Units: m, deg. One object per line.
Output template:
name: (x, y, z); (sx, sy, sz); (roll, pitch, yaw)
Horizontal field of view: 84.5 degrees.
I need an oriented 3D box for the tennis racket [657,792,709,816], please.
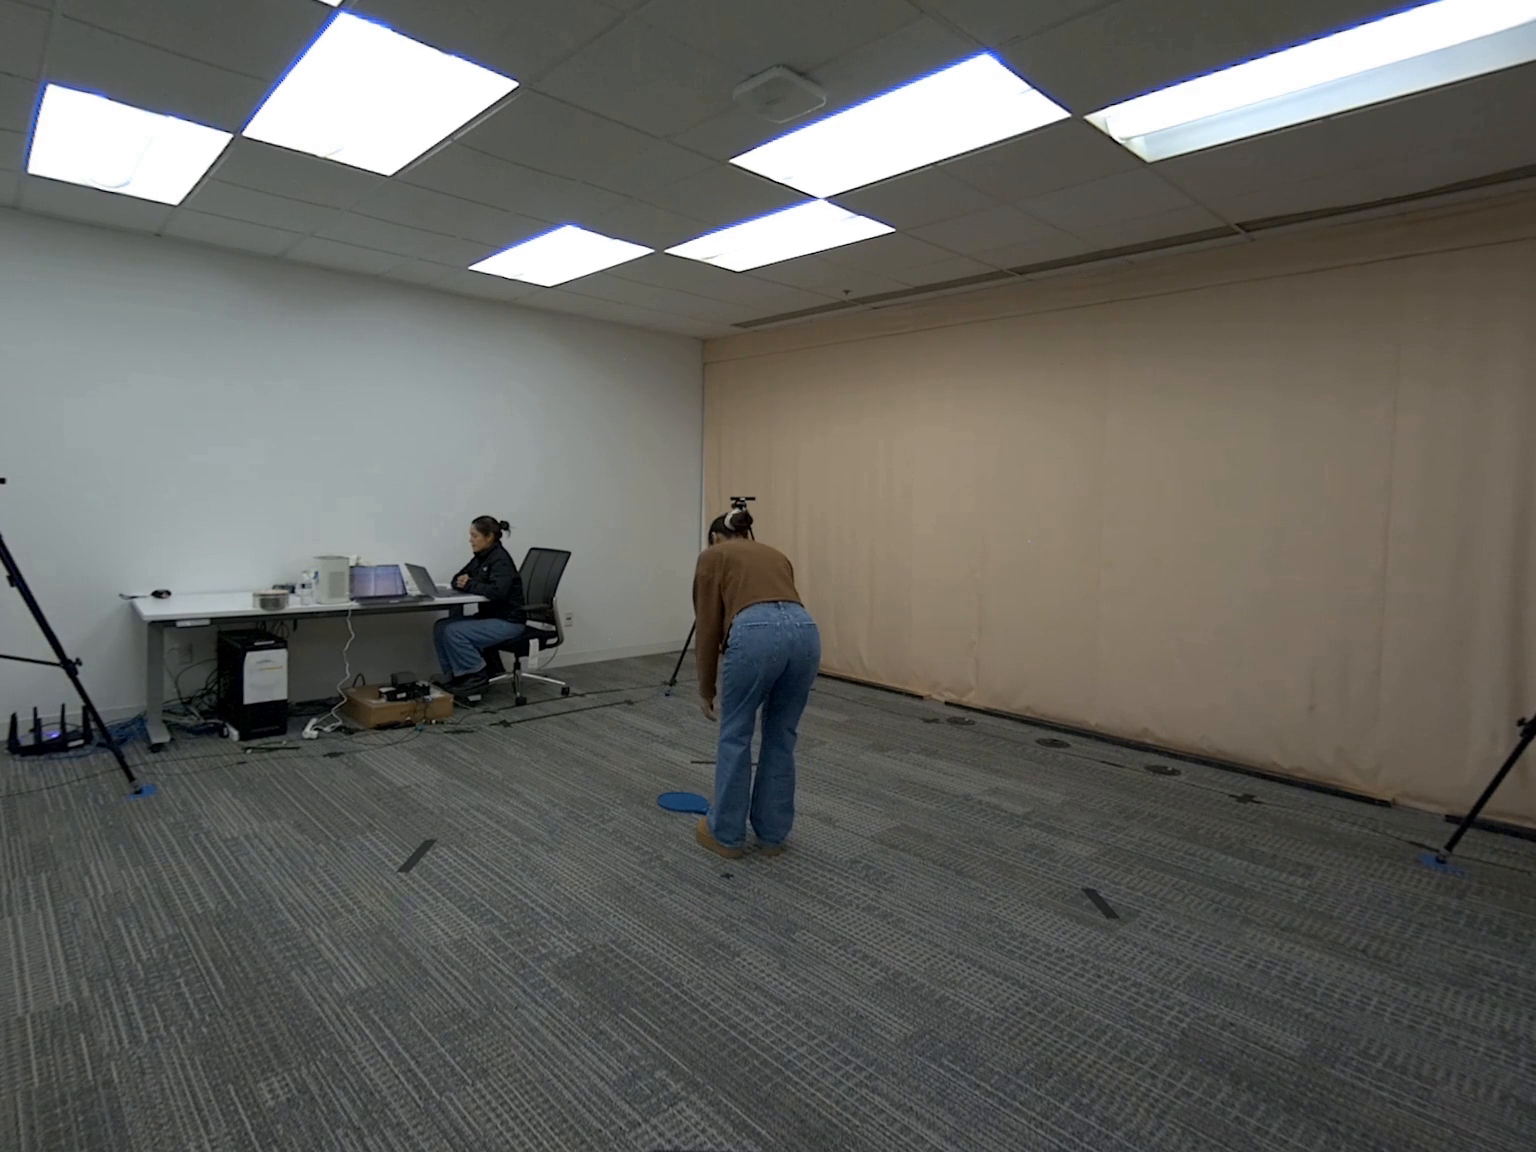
tennis racket: (-0.344, 1.031, 3.780); (0.209, 0.031, 0.444); (-4, 6, -41)
